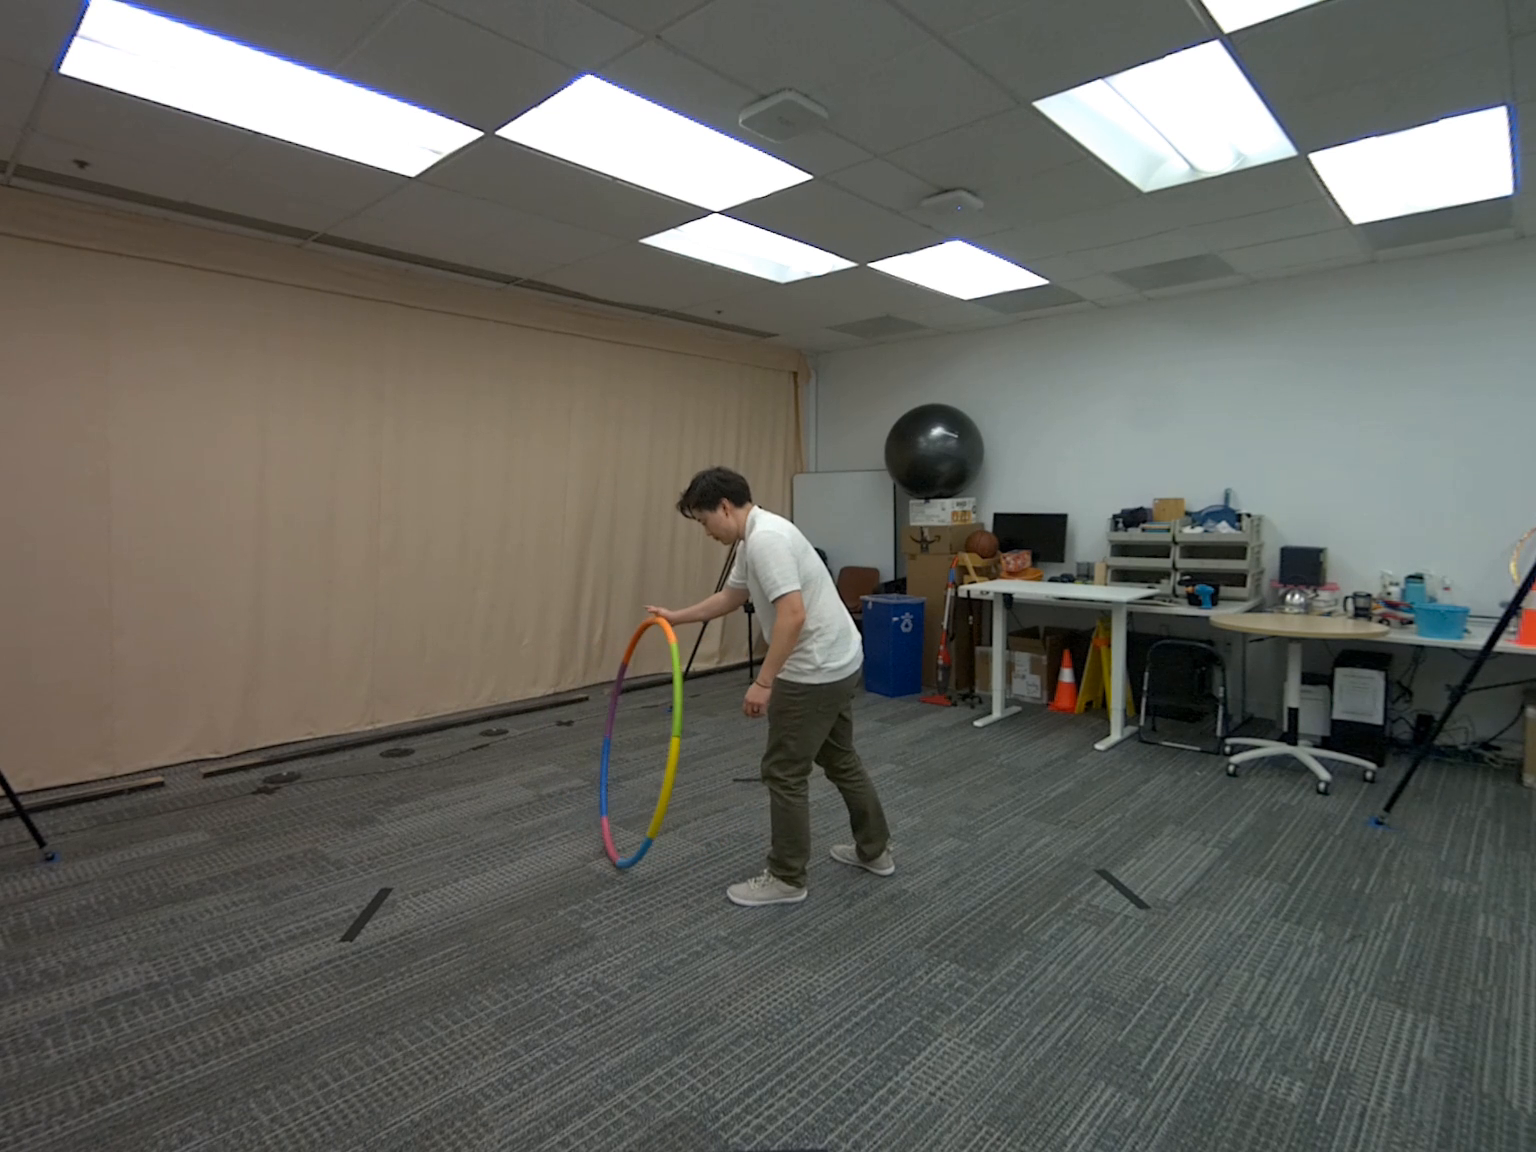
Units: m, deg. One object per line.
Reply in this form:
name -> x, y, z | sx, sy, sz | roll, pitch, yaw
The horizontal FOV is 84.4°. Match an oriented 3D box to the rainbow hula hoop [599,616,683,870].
rainbow hula hoop -> -0.524, 0.645, 3.353 | 0.035, 0.979, 1.001 | 13, -1, -22
